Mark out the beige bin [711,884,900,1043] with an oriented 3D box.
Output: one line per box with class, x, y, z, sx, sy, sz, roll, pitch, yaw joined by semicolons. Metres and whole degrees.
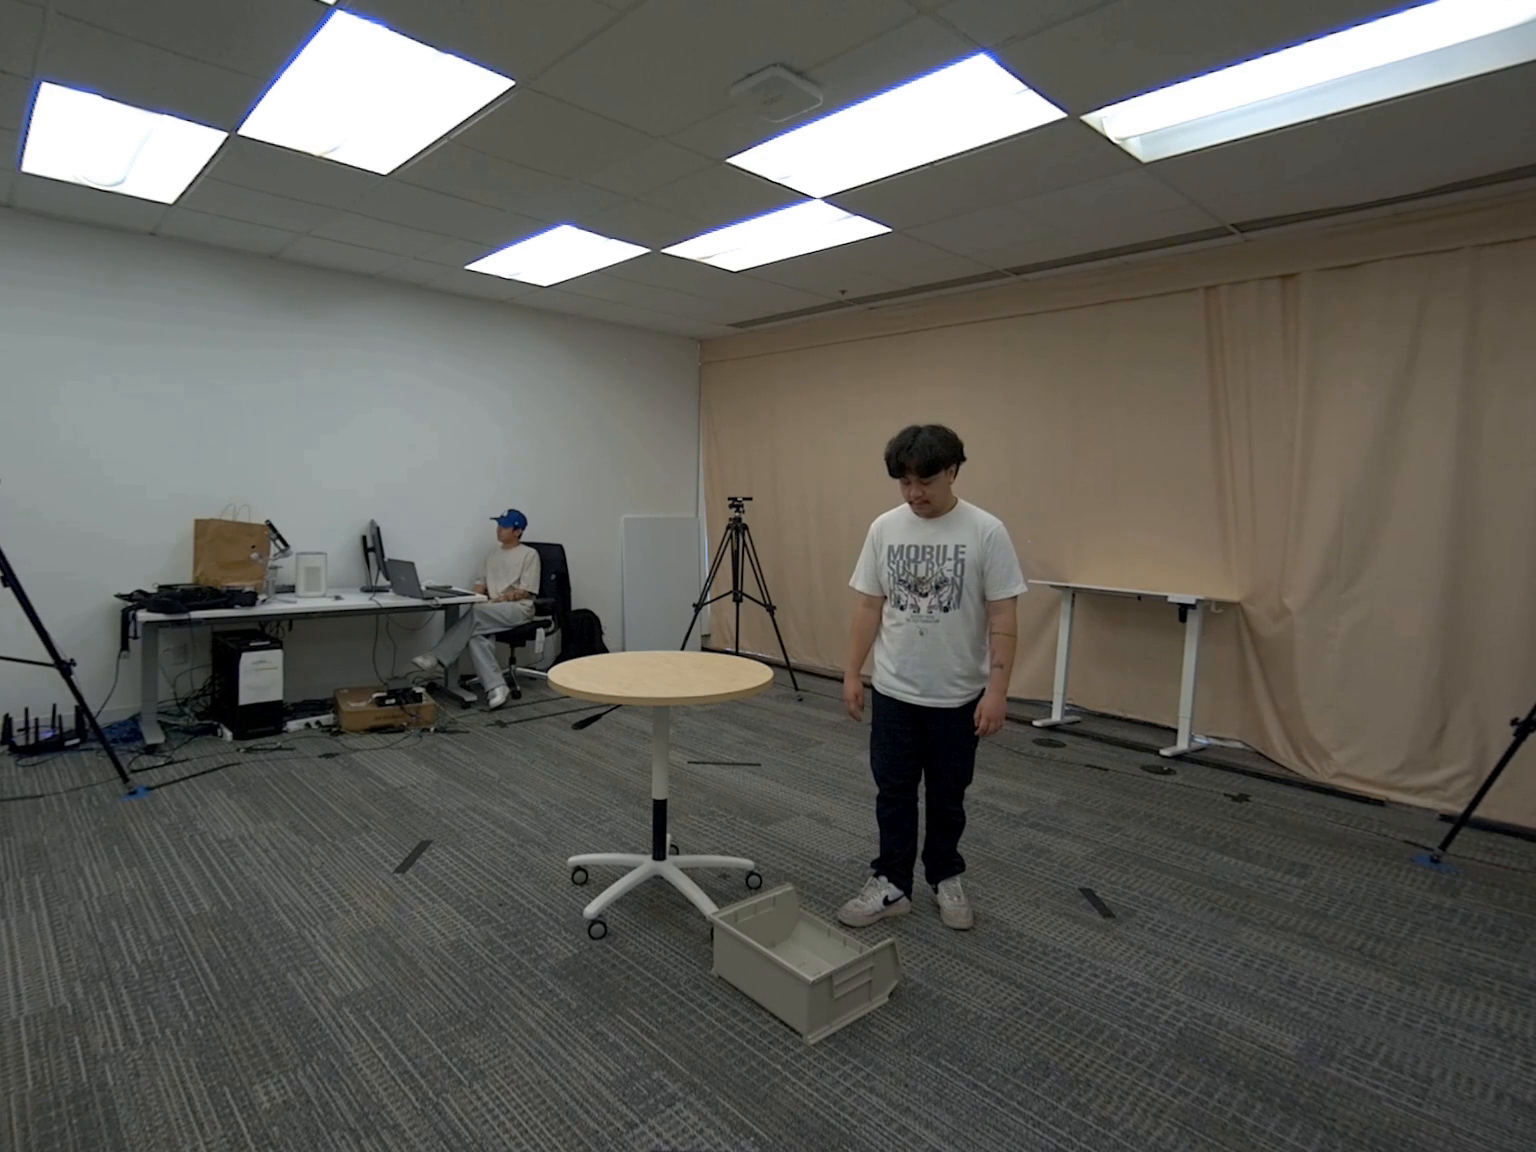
beige bin;0.096;1.089;2.414;0.369;0.188;0.433;-4;8;-42
